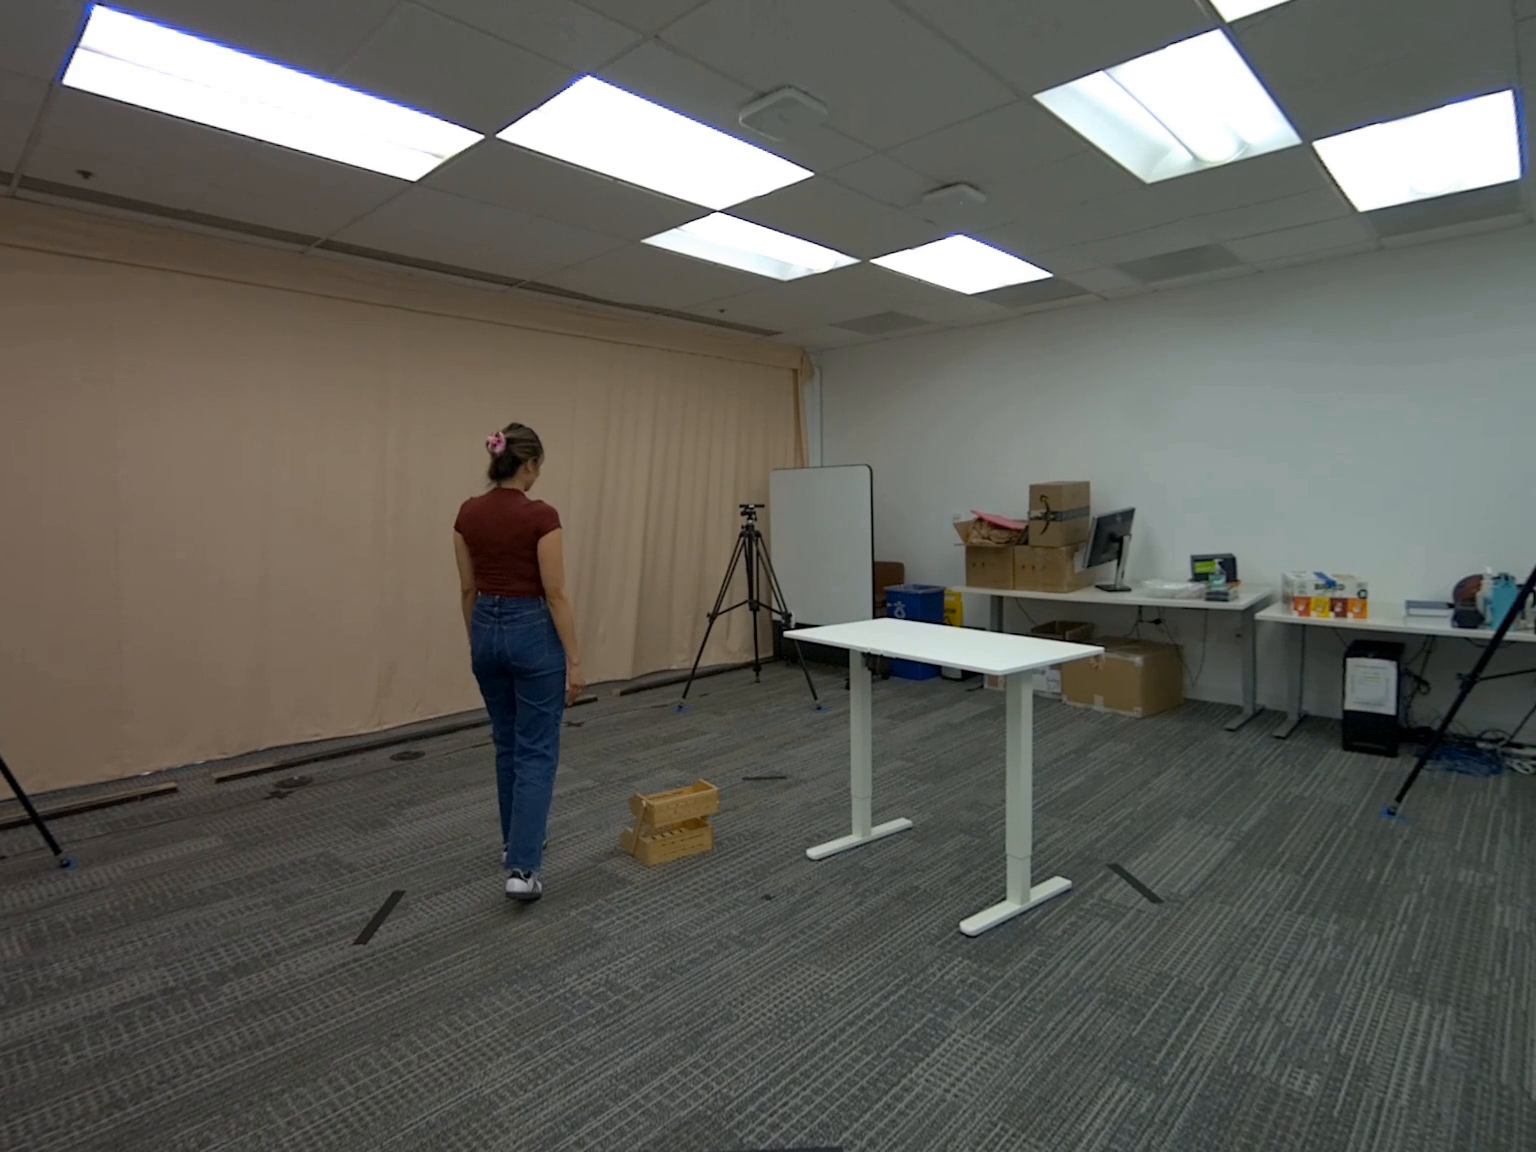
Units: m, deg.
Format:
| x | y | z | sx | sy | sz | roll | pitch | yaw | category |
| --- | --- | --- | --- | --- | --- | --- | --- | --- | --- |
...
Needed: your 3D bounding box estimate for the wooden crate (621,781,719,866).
| x | y | z | sx | sy | sz | roll | pitch | yaw | category |
| --- | --- | --- | --- | --- | --- | --- | --- | --- | --- |
| -0.405 | 0.980 | 3.417 | 0.315 | 0.273 | 0.311 | -4 | 5 | -33 | wooden crate |
